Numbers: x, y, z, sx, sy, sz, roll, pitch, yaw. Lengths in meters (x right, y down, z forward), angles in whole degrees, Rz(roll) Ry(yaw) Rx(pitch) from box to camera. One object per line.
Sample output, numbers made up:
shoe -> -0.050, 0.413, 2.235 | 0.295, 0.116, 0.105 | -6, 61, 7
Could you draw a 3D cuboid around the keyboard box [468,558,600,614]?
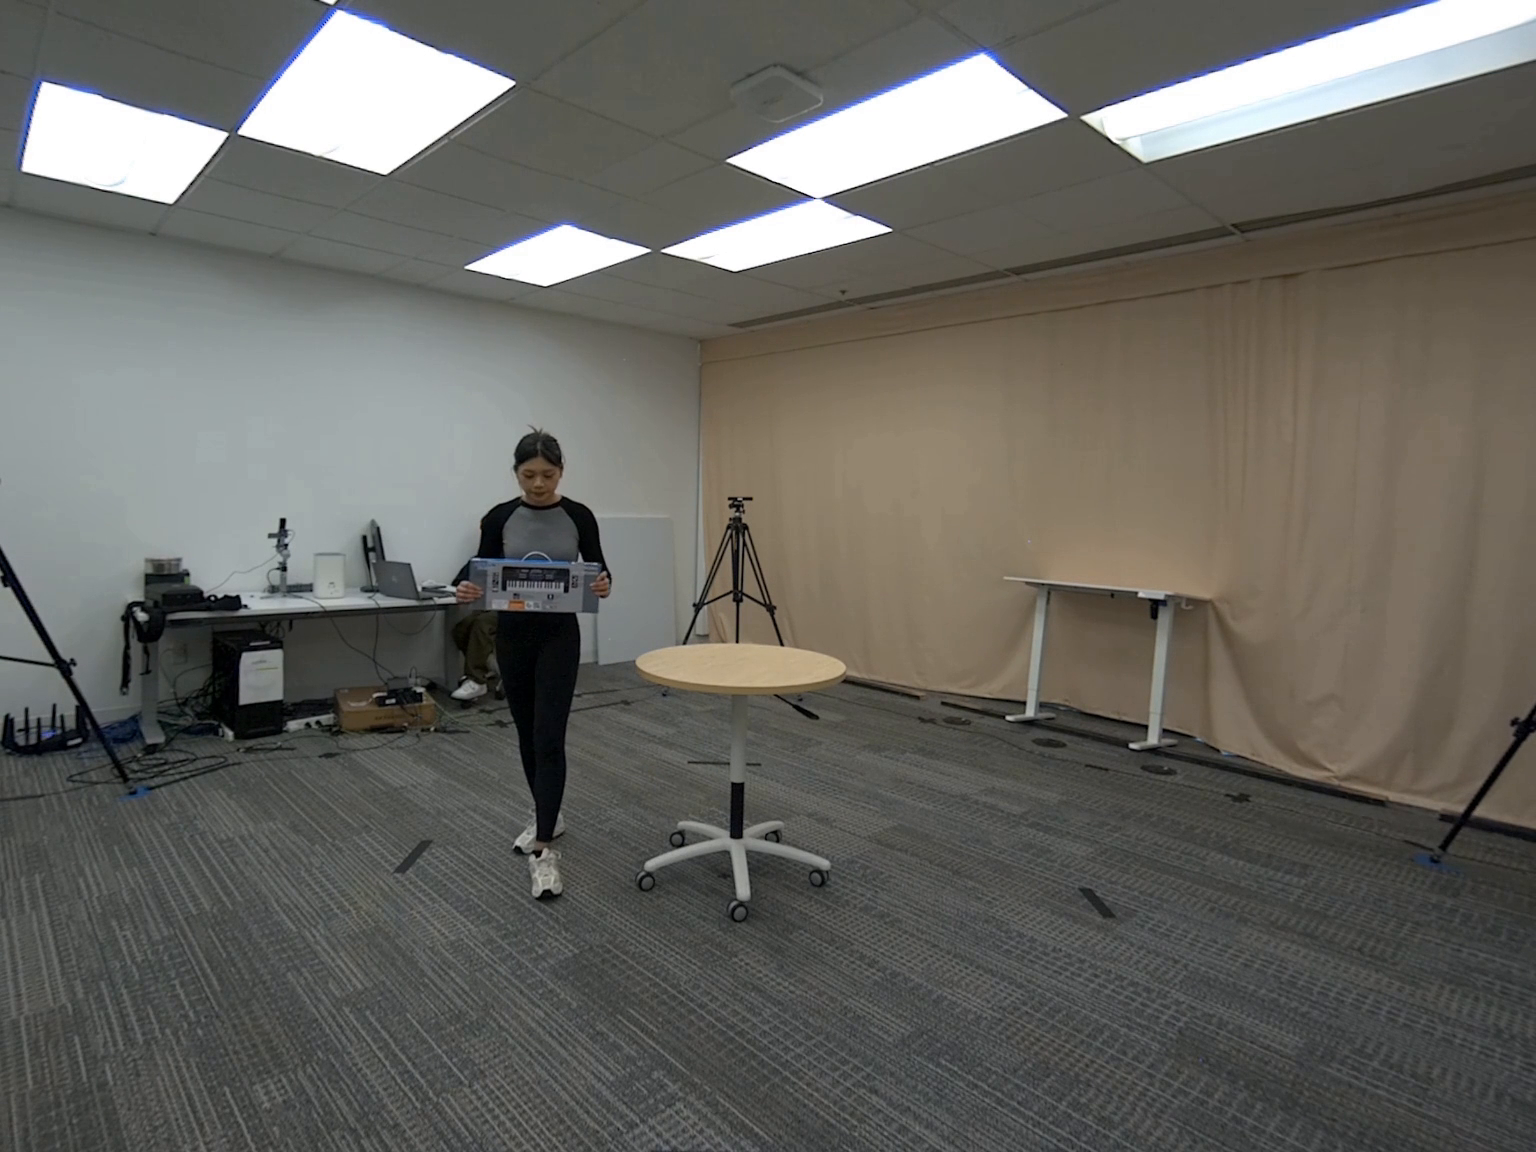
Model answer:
keyboard box -> -0.818, 0.035, 2.916 | 0.432, 0.175, 0.060 | 3, 6, -14
